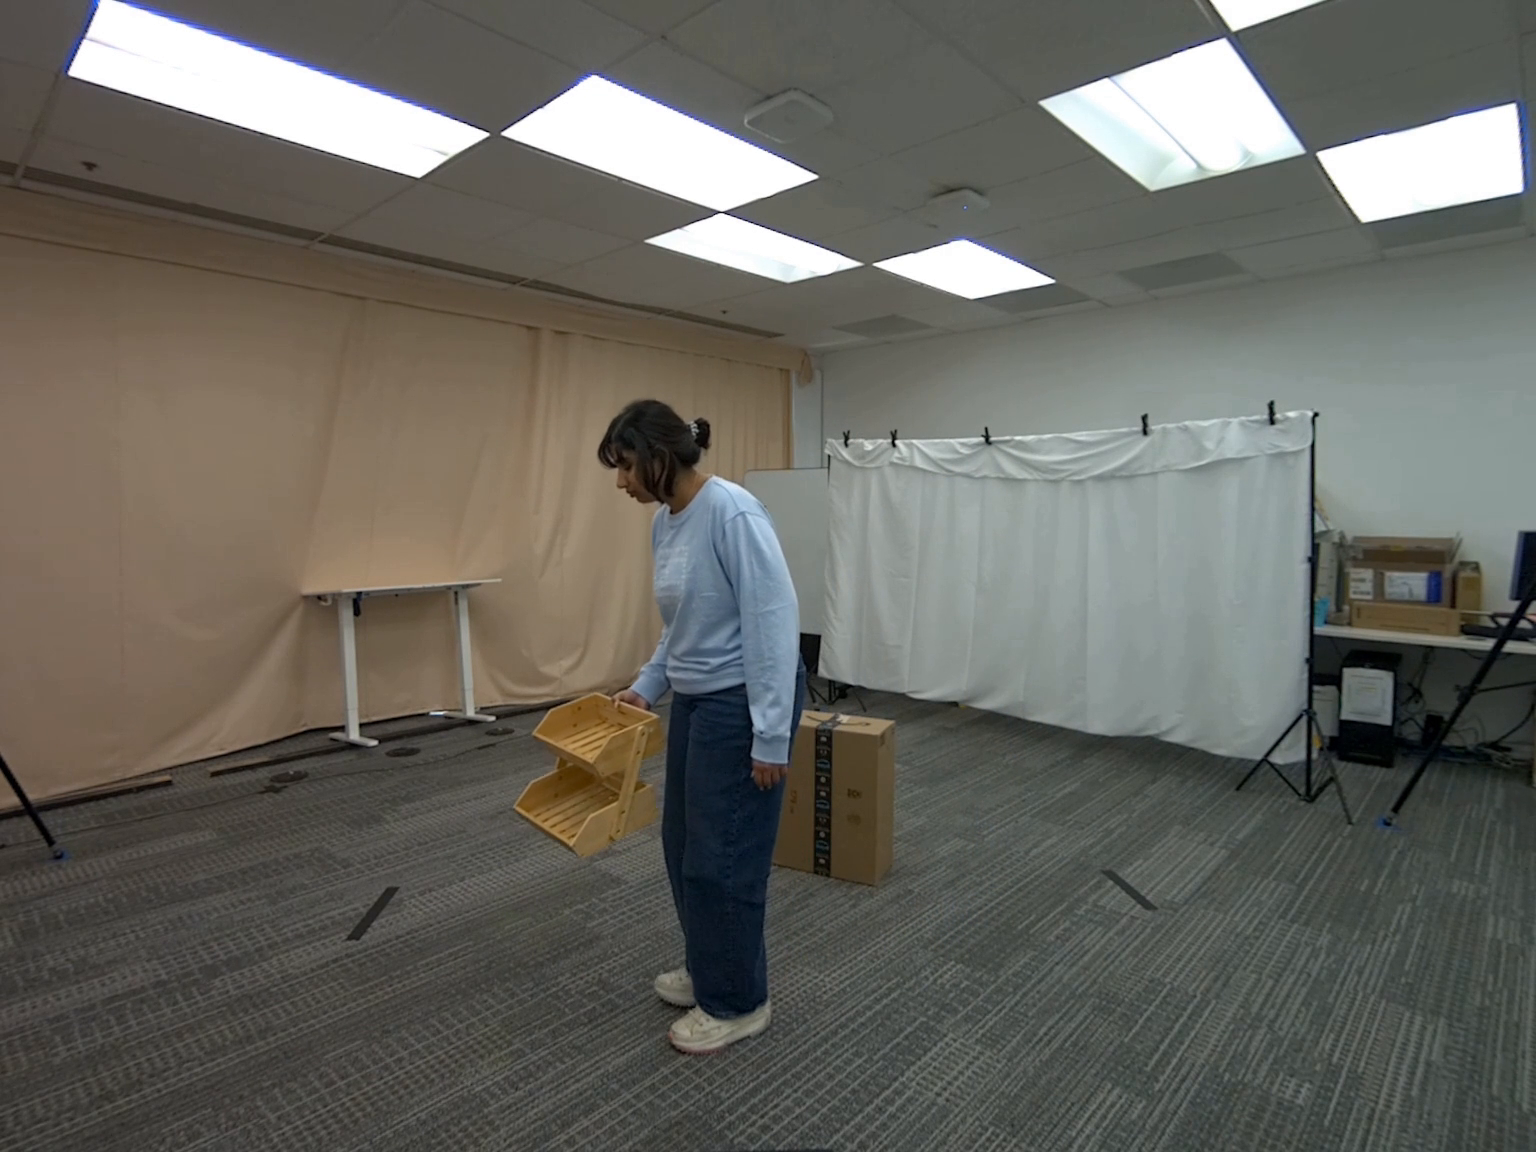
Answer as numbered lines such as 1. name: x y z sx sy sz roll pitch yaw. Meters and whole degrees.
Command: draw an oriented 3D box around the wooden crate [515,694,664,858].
1. wooden crate: -0.466 0.506 2.148 0.294 0.271 0.335 -17 16 -41
